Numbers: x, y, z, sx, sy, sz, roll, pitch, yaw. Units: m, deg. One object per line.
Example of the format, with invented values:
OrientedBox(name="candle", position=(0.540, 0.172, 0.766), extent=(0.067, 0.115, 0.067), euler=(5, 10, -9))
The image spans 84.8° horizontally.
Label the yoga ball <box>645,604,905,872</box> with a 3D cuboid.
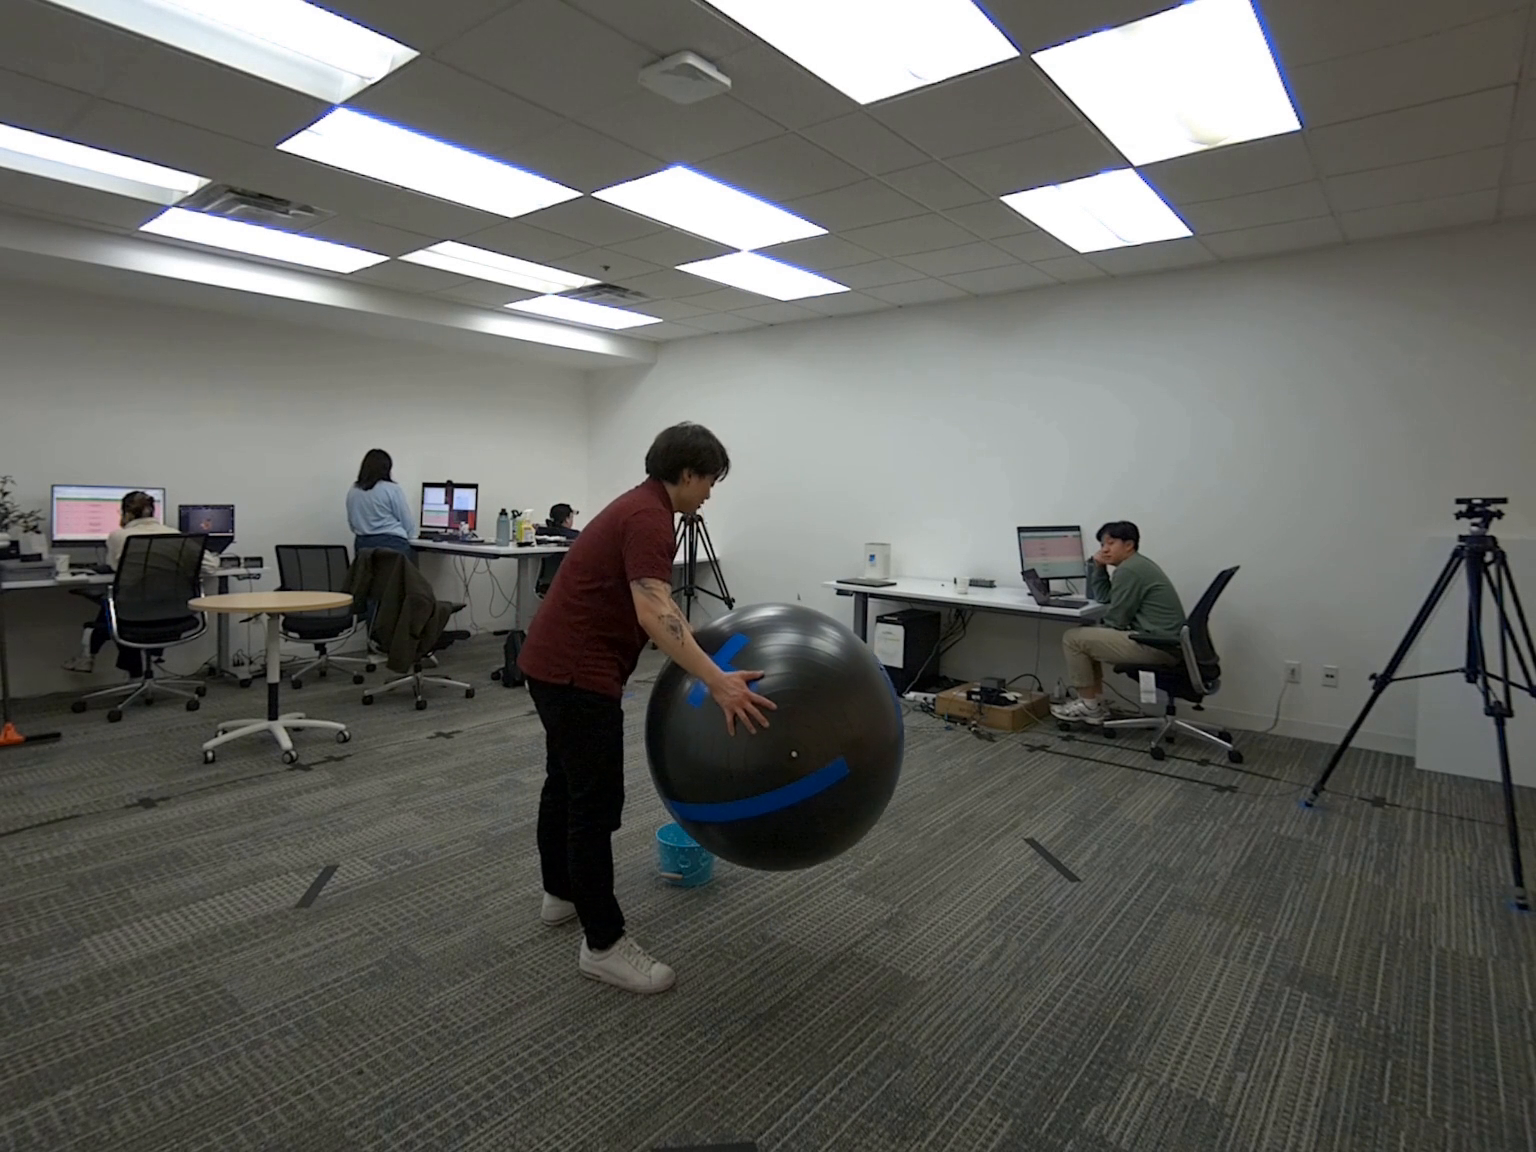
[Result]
OrientedBox(name="yoga ball", position=(0.007, 0.470, 2.511), extent=(0.757, 0.755, 0.762), euler=(1, 4, -2))
